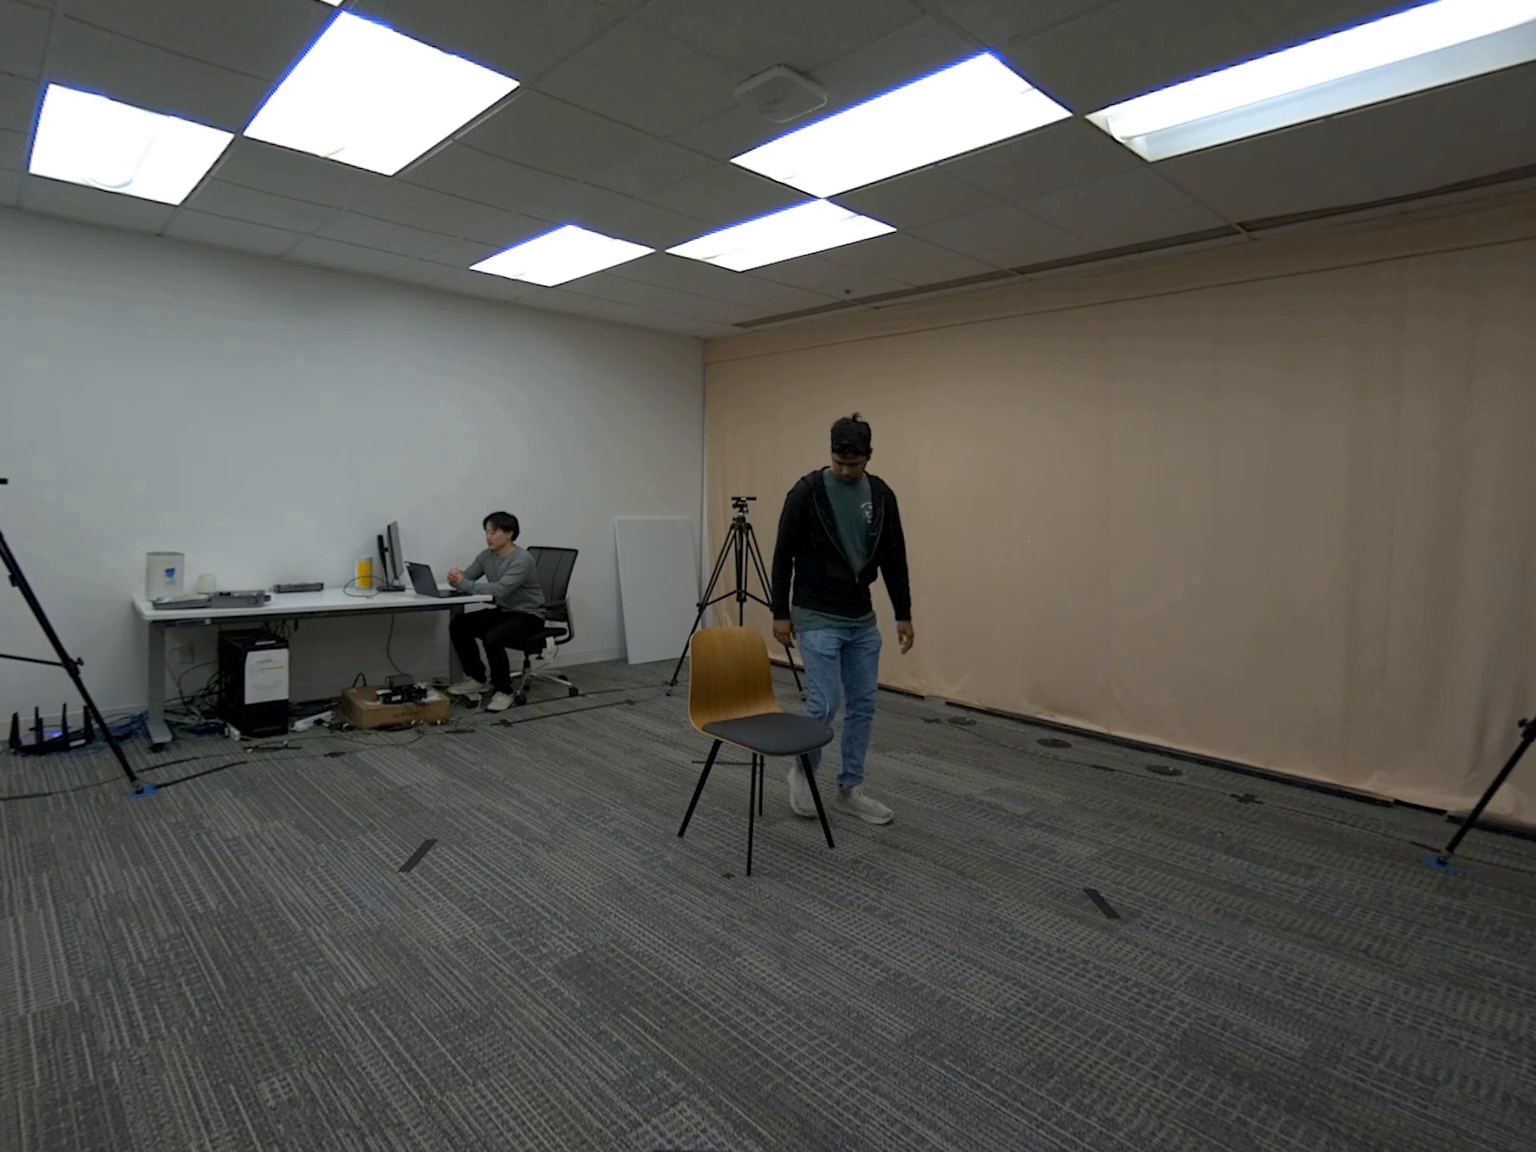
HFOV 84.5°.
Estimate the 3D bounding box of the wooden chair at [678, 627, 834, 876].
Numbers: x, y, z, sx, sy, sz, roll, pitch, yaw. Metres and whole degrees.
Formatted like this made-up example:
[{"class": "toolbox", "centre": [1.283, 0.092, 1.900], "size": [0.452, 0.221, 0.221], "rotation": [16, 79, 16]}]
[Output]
[{"class": "wooden chair", "centre": [-0.047, 0.660, 3.378], "size": [0.467, 0.878, 0.535], "rotation": [0, -1, -40]}]
